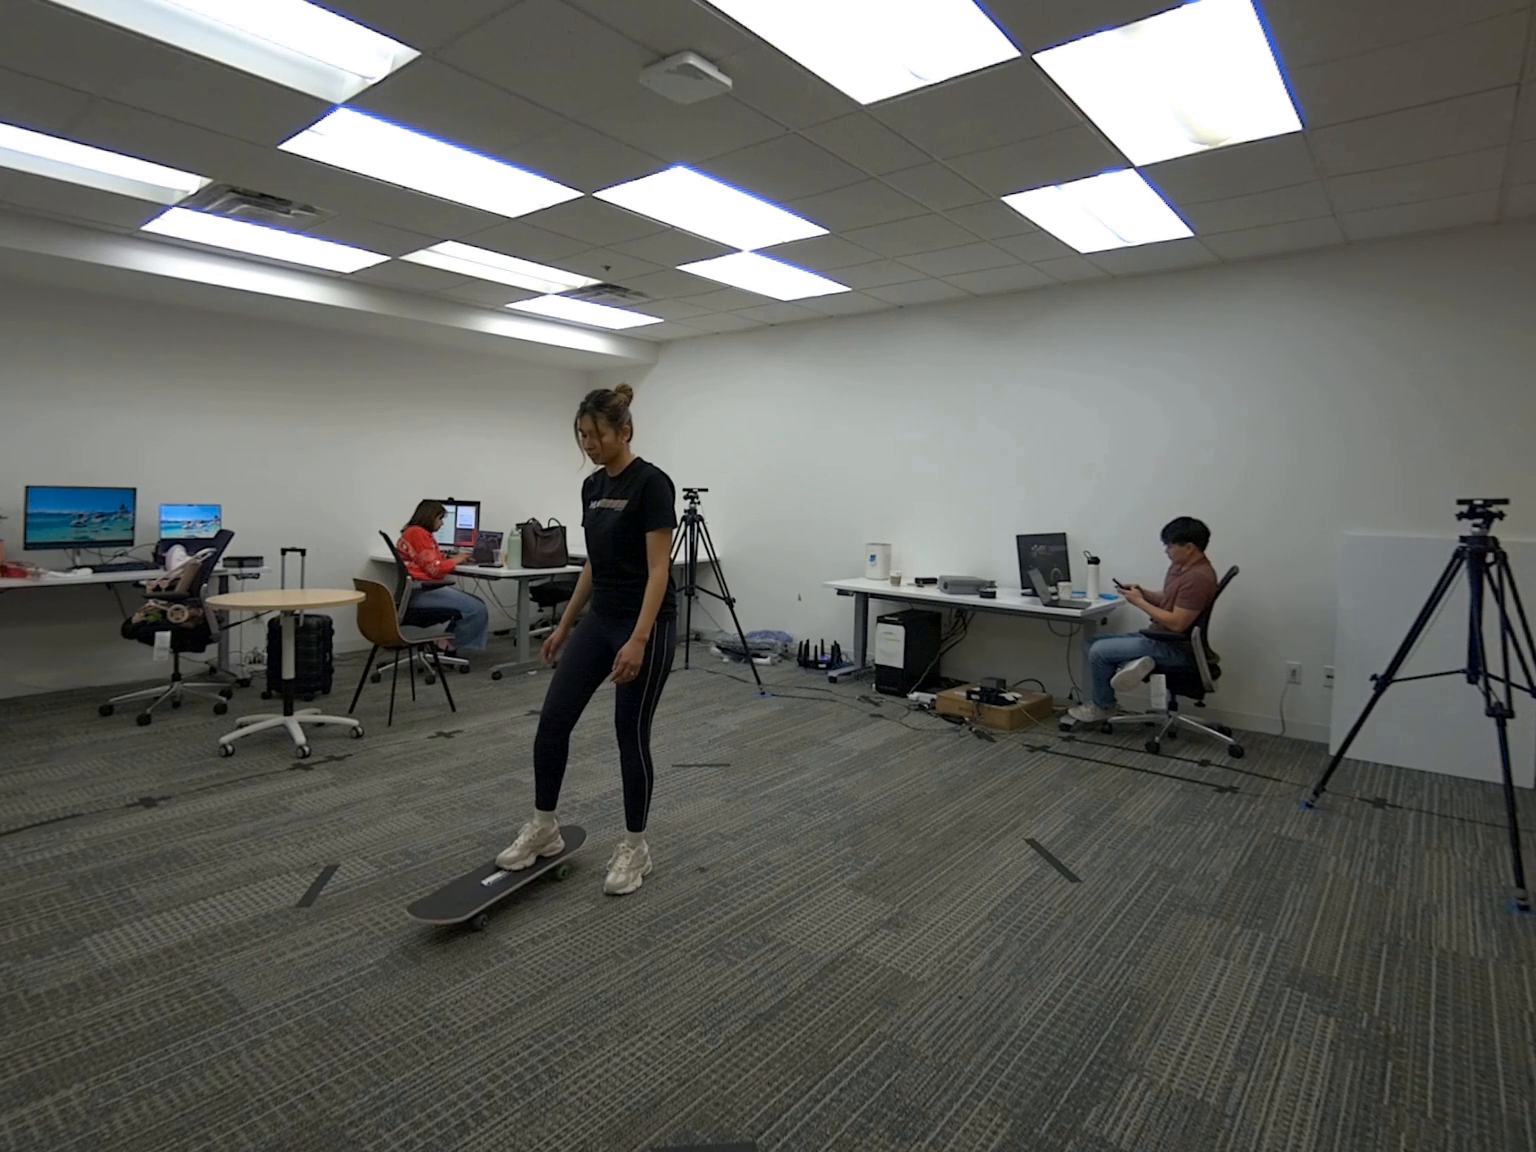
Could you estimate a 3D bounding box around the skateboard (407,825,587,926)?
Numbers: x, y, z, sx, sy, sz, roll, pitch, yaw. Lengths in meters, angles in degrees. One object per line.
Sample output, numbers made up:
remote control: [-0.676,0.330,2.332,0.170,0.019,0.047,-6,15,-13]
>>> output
skateboard: [-0.893,1.031,2.866,0.199,0.110,0.767,4,7,26]
